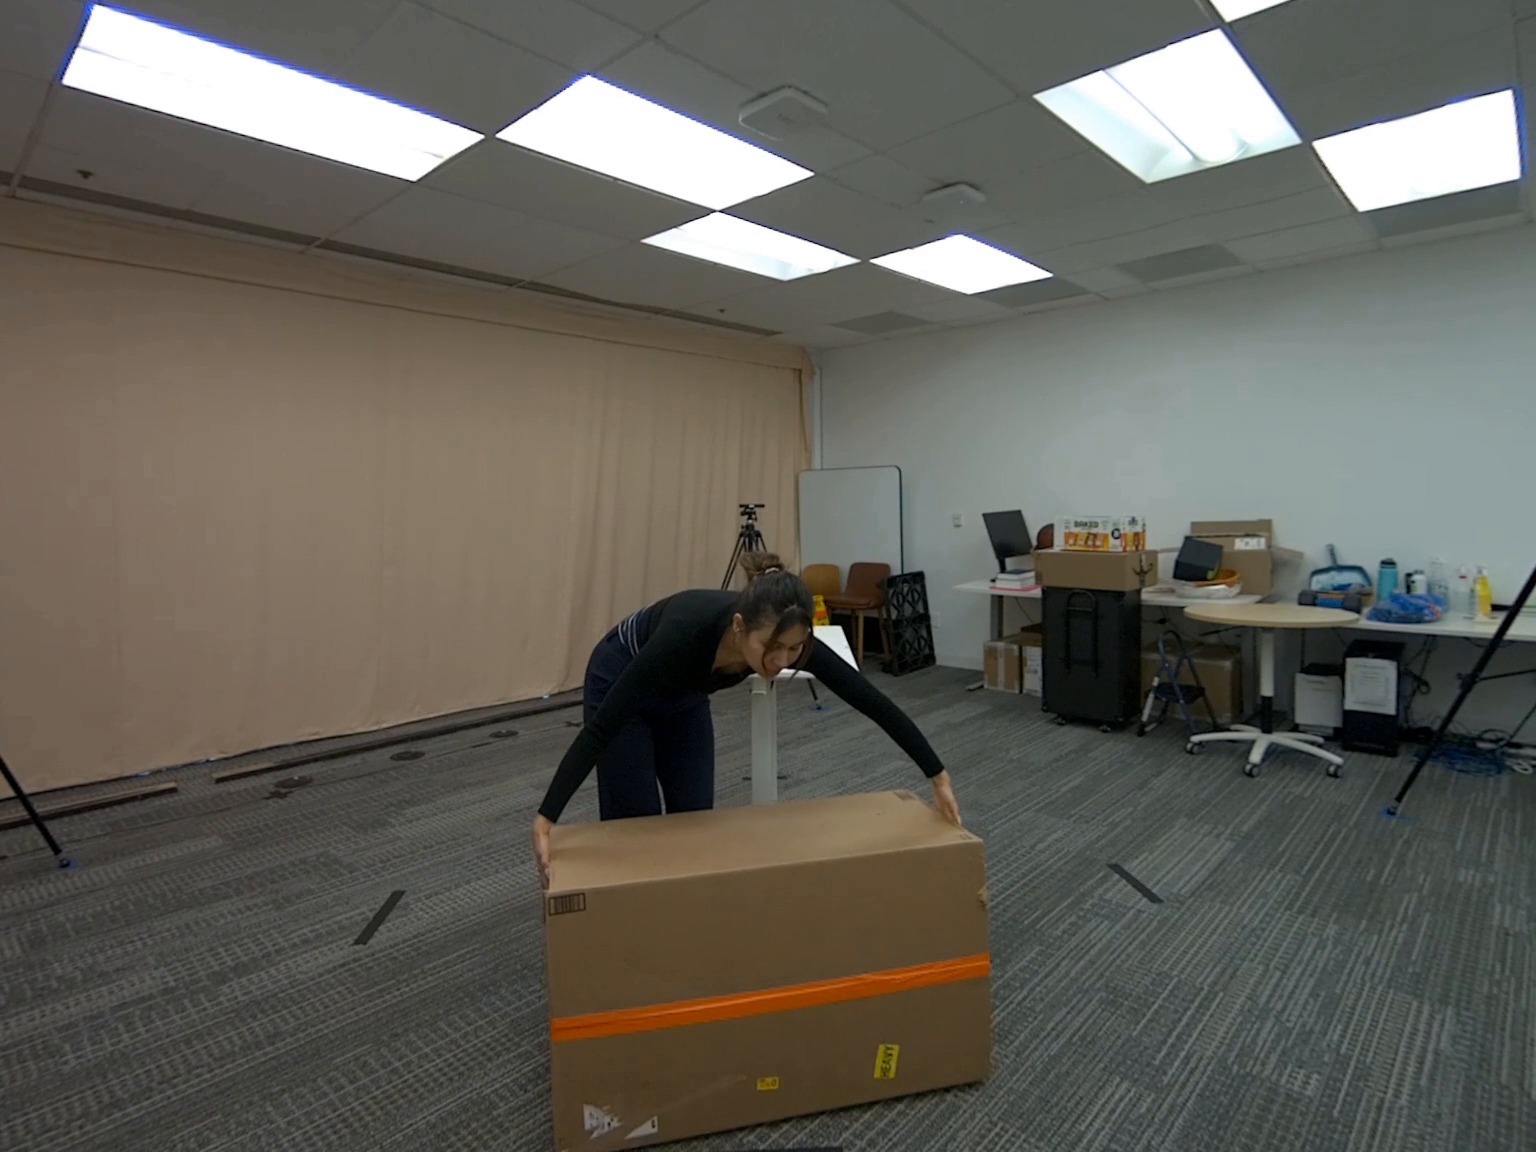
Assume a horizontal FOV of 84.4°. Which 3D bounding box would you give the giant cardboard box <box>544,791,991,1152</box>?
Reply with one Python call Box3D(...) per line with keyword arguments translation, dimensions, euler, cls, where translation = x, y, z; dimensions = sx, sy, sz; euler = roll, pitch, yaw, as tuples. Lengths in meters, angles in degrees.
Box3D(translation=(-0.018, 0.916, 2.075), dimensions=(1.012, 0.576, 0.433), euler=(-2, 3, -13), cls="giant cardboard box")
